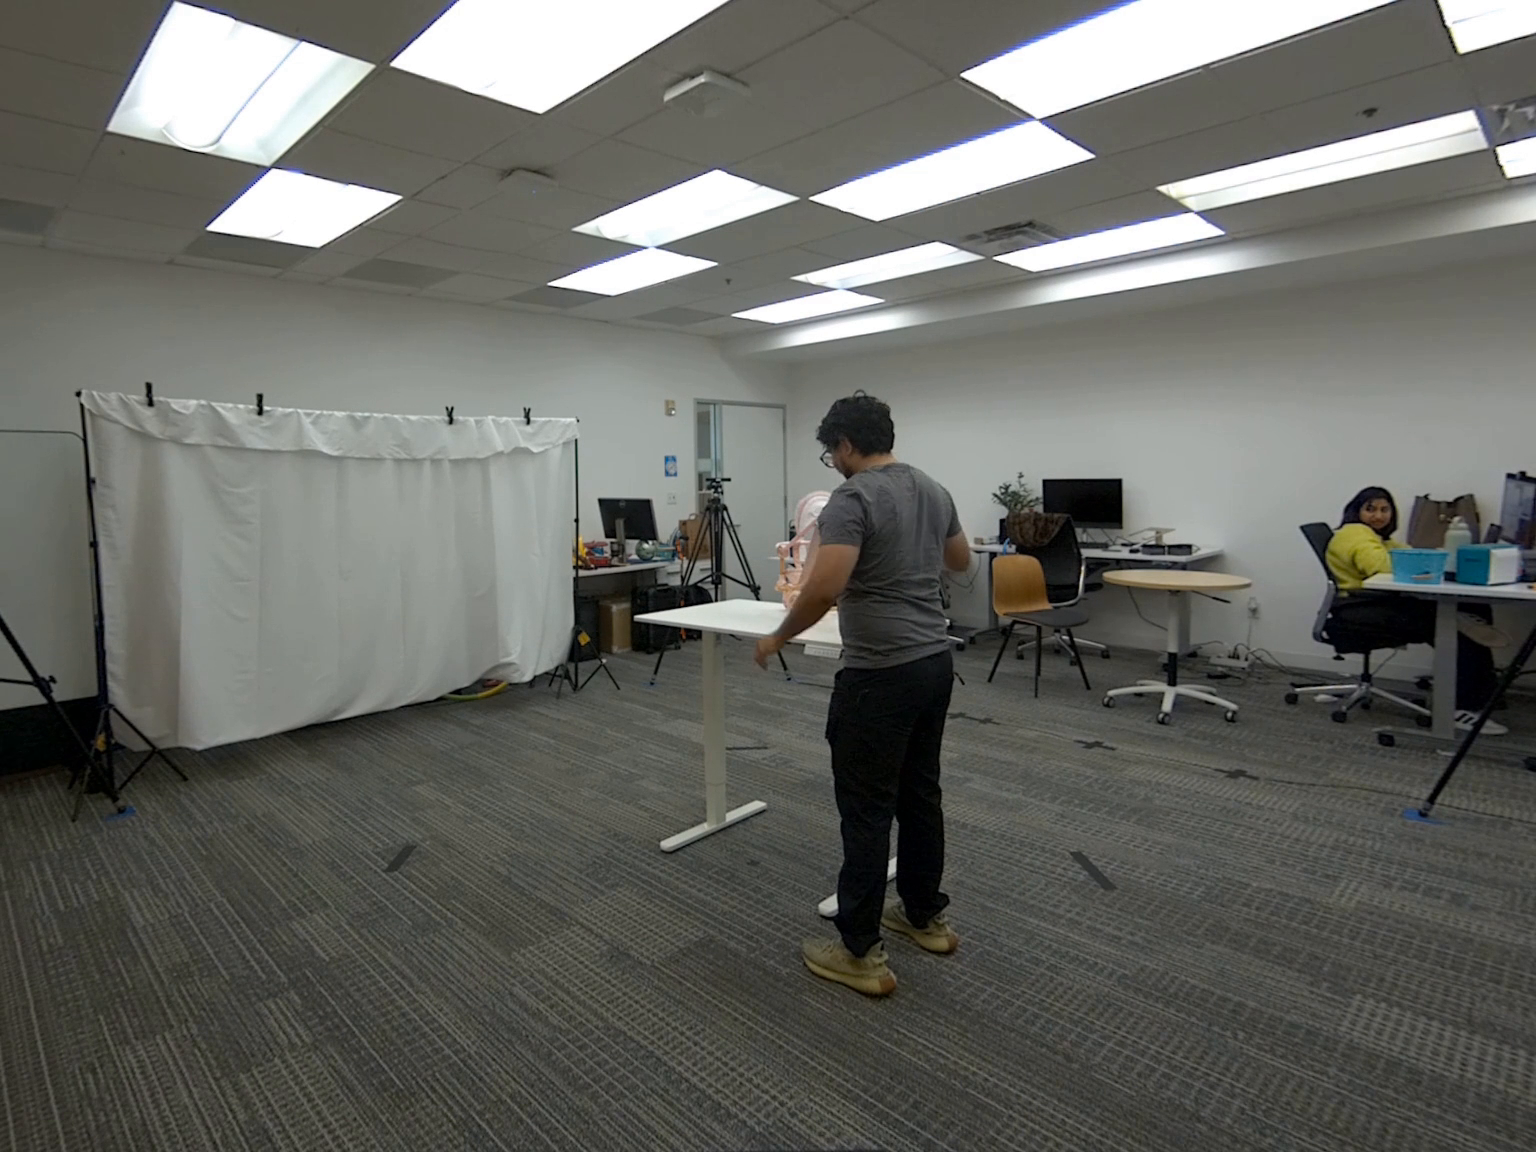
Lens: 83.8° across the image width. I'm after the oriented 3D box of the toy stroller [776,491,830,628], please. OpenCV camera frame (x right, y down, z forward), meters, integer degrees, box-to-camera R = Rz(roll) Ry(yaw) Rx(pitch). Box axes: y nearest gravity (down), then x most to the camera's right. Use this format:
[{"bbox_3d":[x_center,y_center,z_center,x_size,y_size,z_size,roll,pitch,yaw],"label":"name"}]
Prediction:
[{"bbox_3d":[0.181,-0.072,3.142,0.275,0.527,0.354,-4,22,-26],"label":"toy stroller"}]
